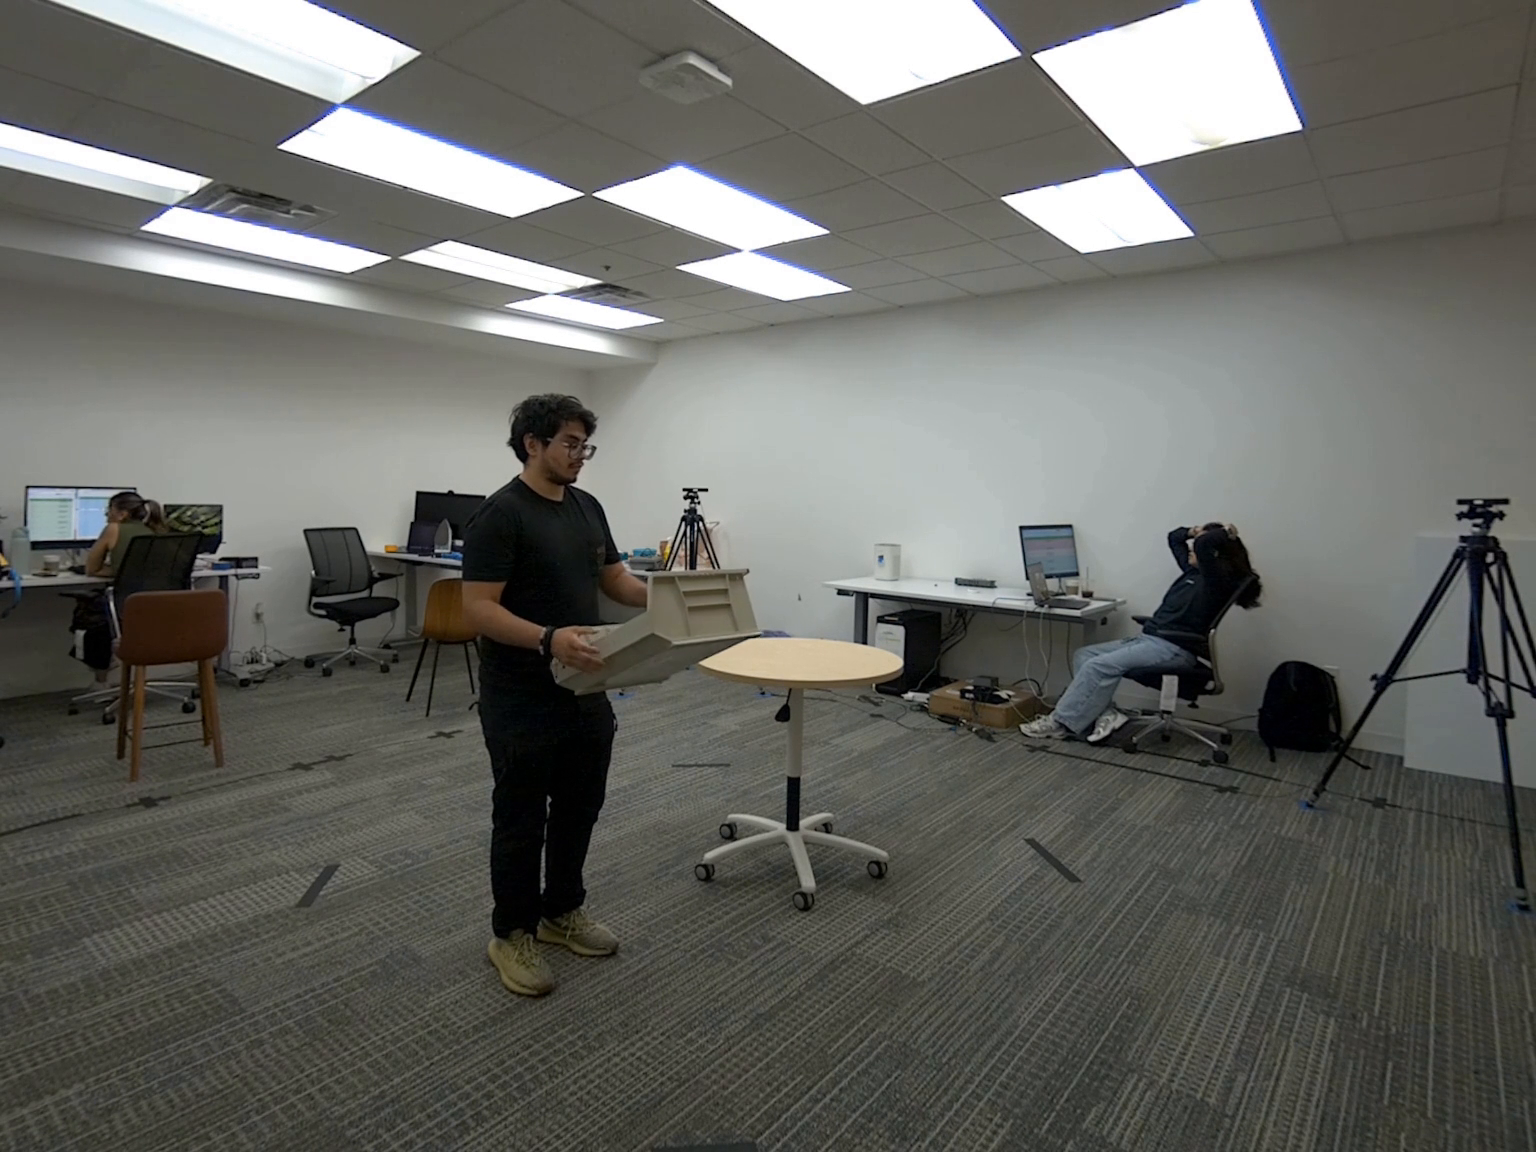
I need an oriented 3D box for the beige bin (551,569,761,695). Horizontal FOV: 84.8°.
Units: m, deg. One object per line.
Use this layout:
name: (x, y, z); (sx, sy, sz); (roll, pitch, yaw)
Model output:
beige bin: (-0.301, 0.146, 2.187); (0.428, 0.193, 0.365); (-28, -20, 39)
